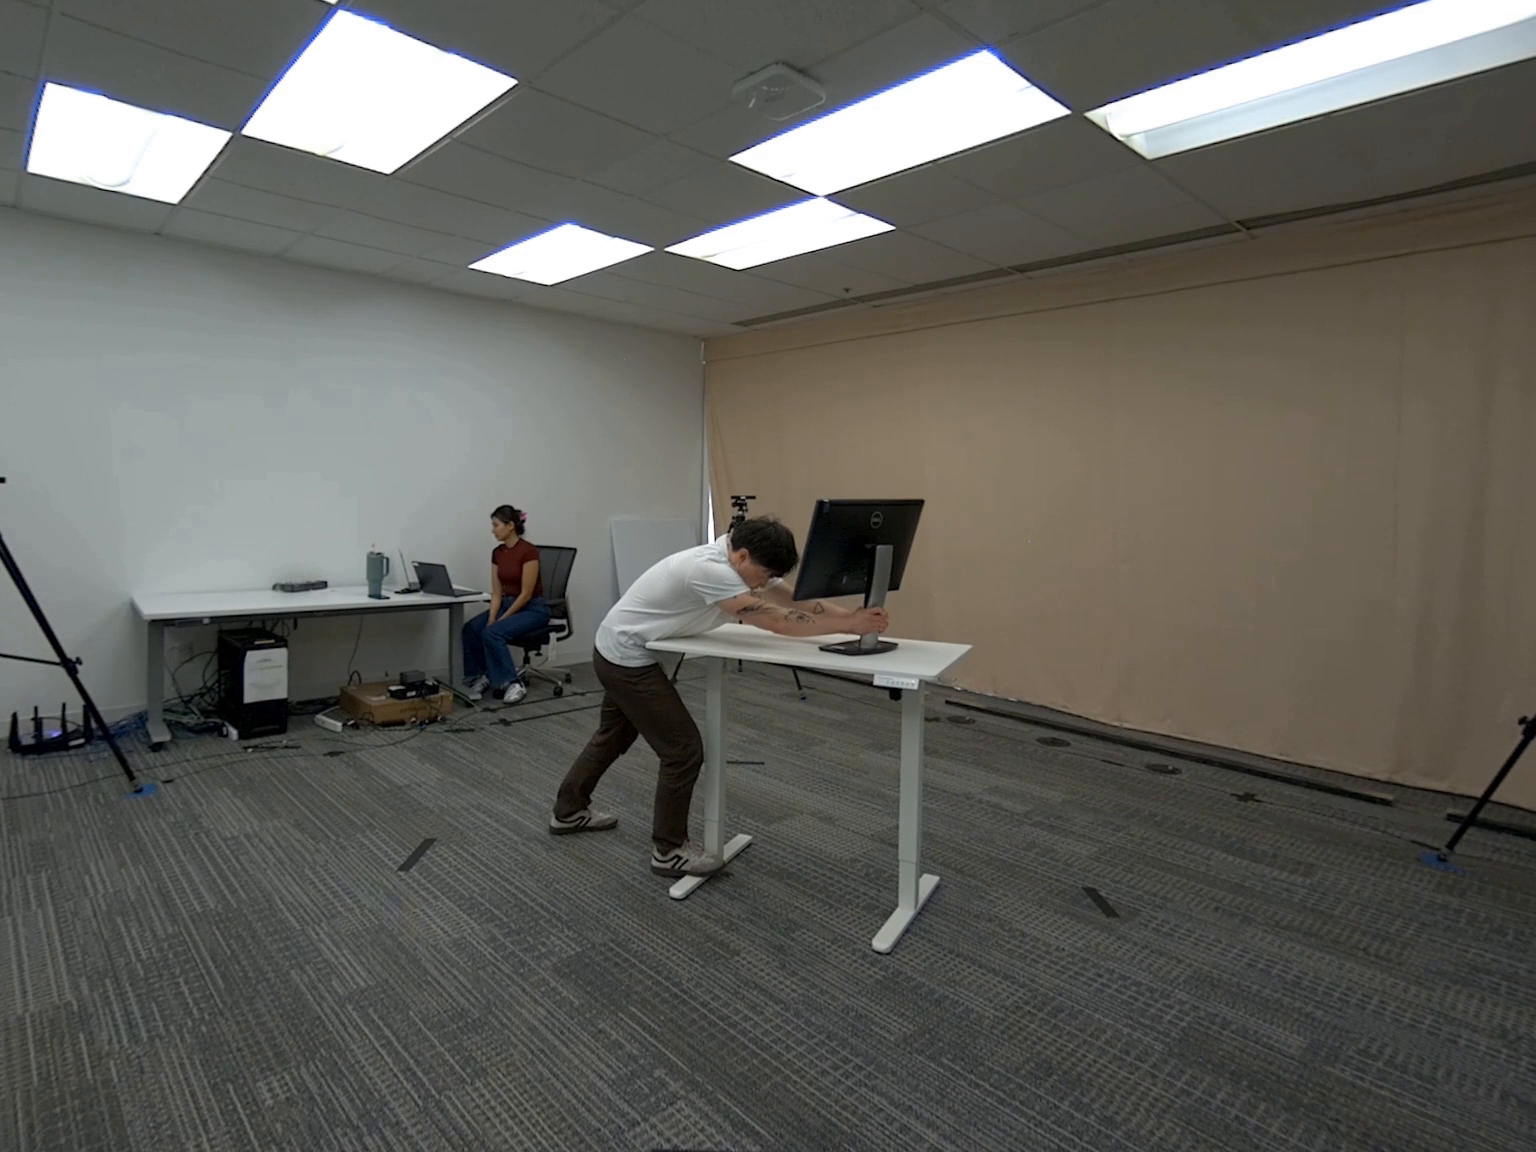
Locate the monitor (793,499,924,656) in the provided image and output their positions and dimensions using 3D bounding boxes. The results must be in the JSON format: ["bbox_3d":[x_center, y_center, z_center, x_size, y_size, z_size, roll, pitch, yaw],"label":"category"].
[{"bbox_3d":[0.329,-0.004,2.868,0.527,0.520,0.192,-5,11,-44],"label":"monitor"}]
